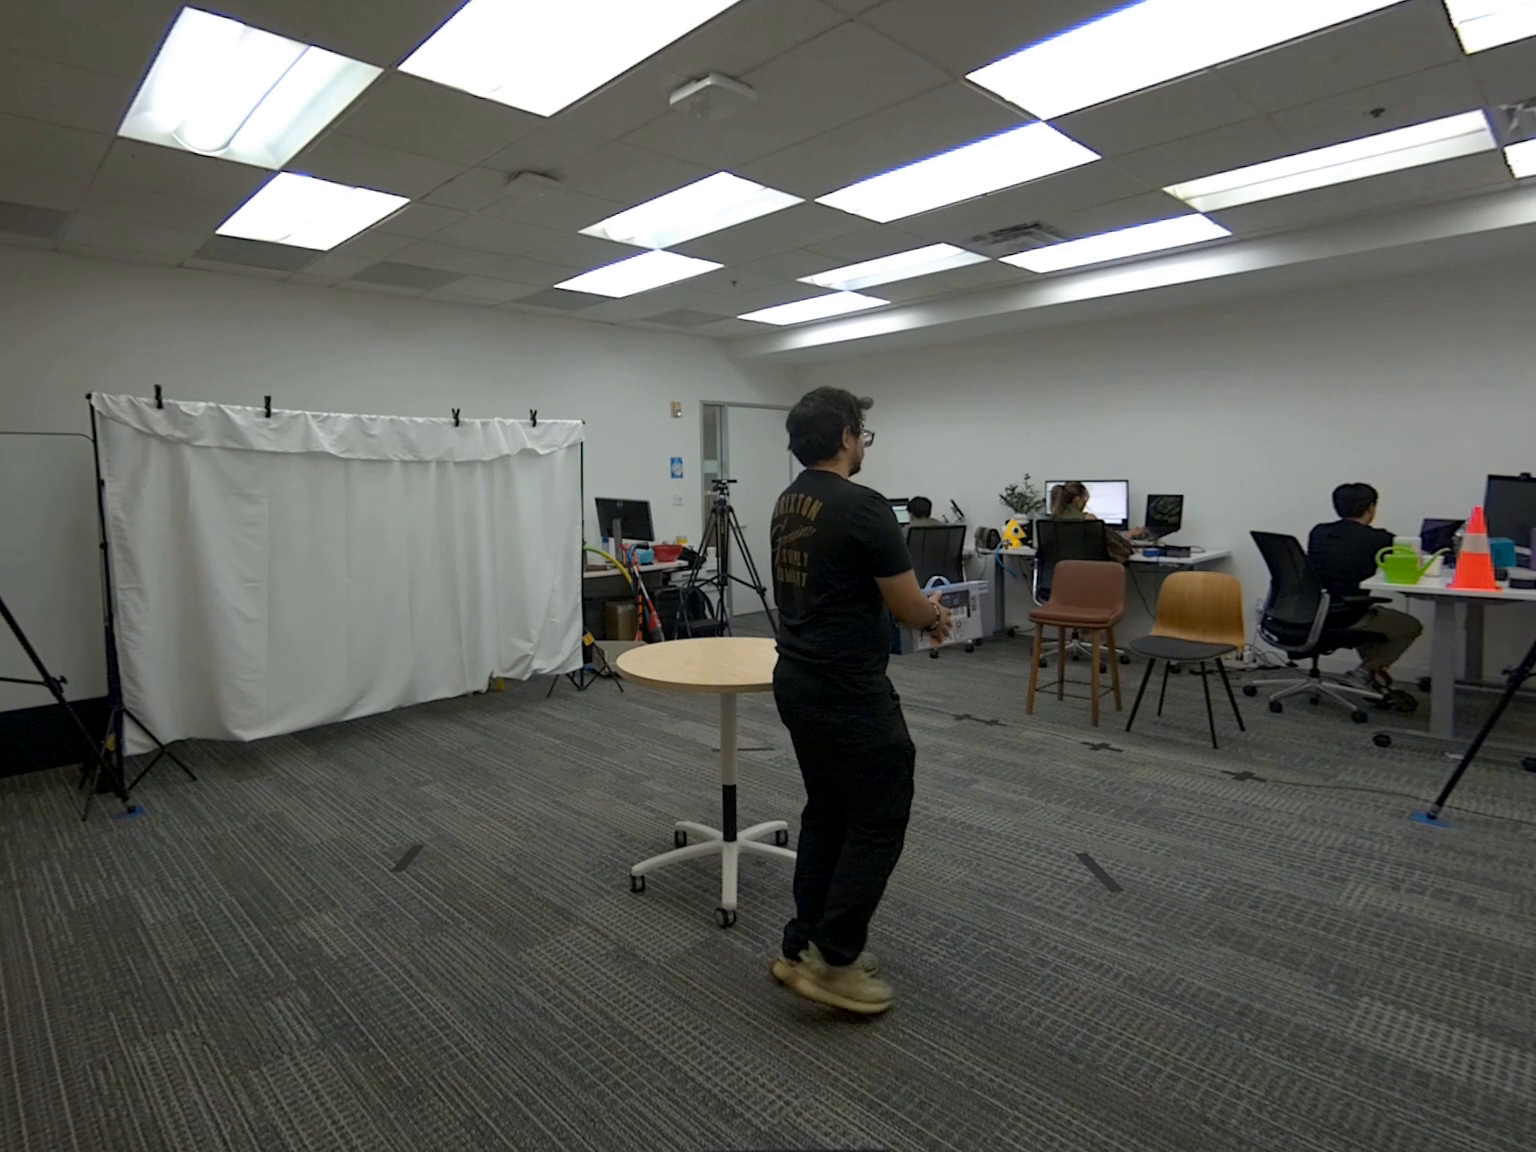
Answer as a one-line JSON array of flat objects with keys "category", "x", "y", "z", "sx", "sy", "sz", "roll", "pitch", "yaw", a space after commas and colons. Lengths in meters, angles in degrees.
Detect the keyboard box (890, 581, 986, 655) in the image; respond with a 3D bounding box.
[{"category": "keyboard box", "x": 0.514, "y": 0.125, "z": 2.569, "sx": 0.426, "sy": 0.176, "sz": 0.061, "roll": -6, "pitch": 2, "yaw": -37}]
